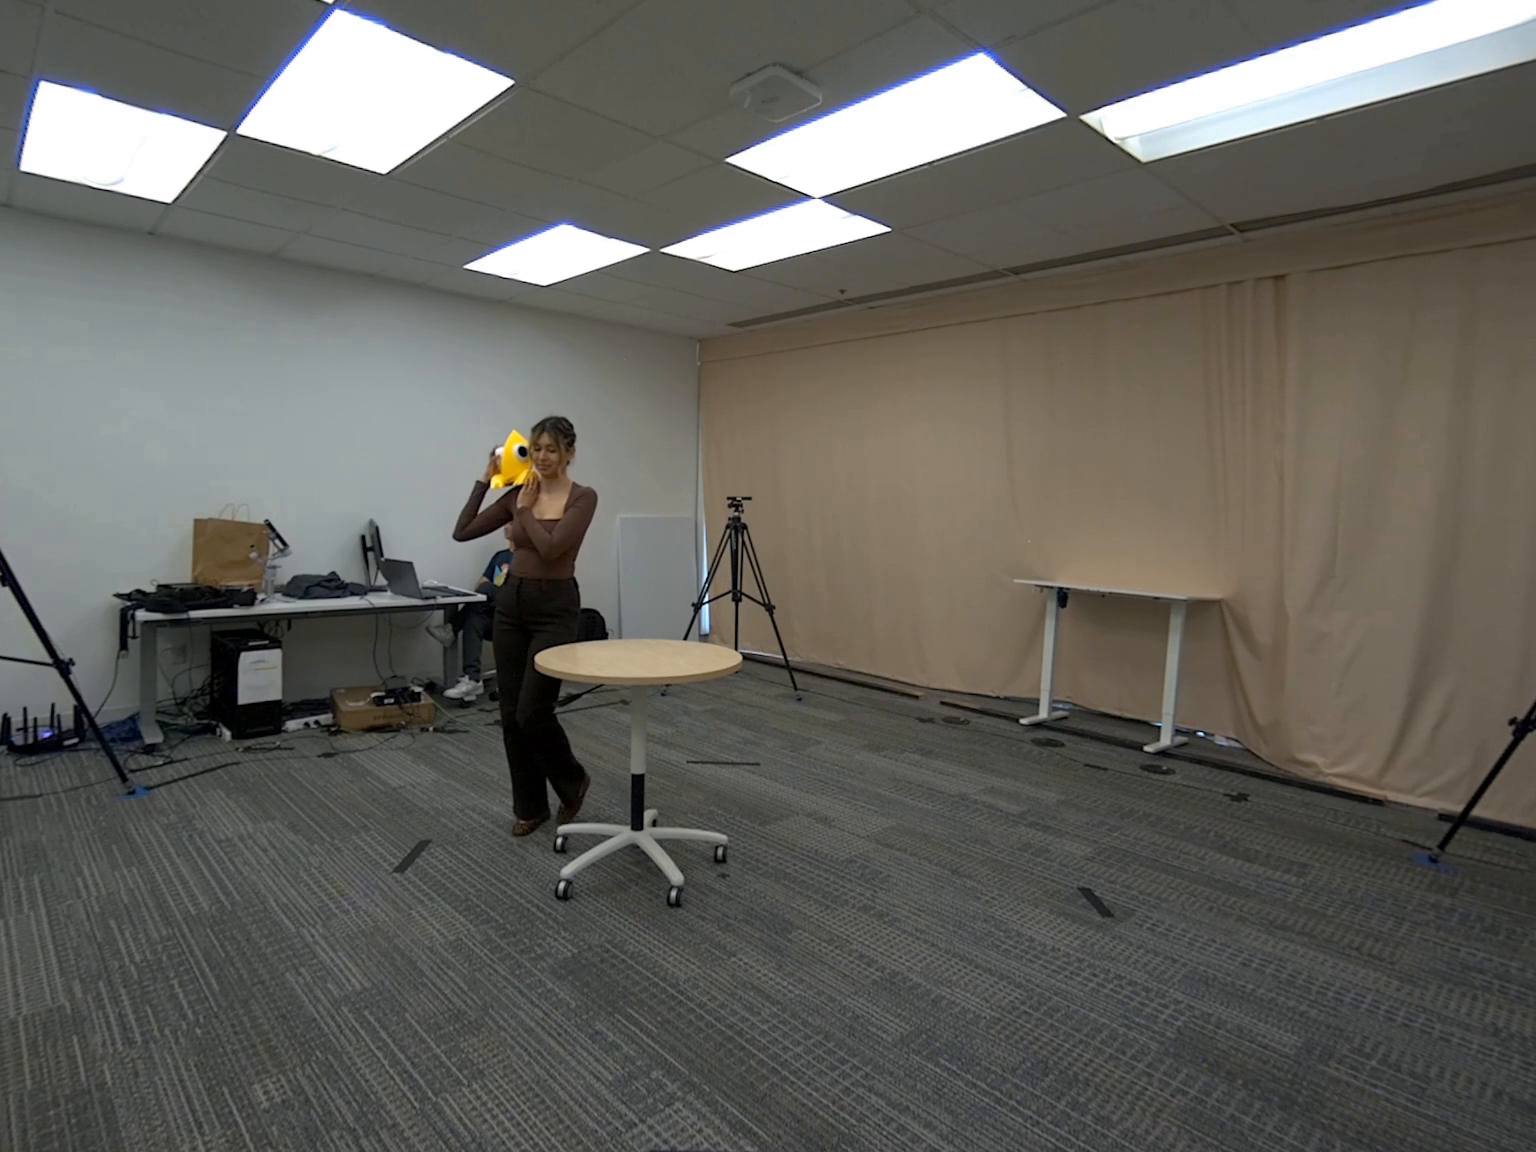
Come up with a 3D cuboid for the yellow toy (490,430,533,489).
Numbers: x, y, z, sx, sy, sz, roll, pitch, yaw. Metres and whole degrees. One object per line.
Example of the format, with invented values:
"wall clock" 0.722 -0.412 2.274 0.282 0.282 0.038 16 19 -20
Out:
"yellow toy" -1.075 -0.493 3.528 0.207 0.229 0.192 -8 8 17
